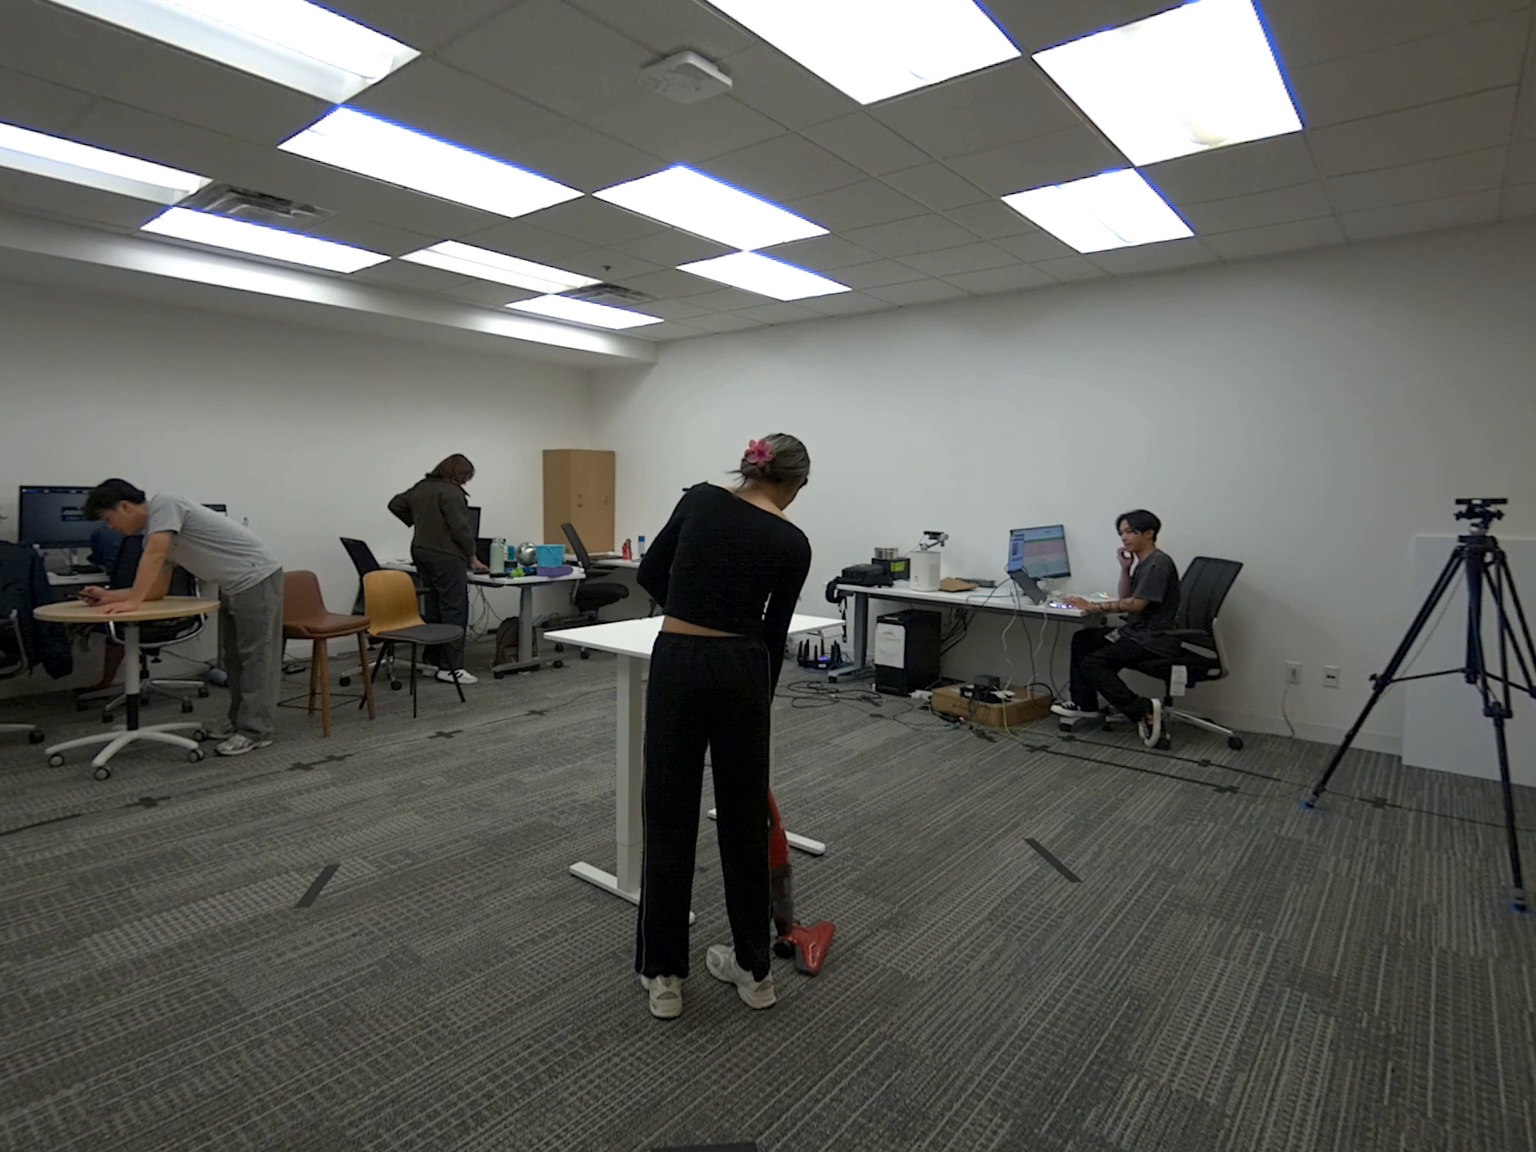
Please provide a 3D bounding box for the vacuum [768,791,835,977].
[{"bbox_3d":[-0.052,0.624,2.561,0.147,1.050,0.247,-17,-1,31],"label":"vacuum"}]
